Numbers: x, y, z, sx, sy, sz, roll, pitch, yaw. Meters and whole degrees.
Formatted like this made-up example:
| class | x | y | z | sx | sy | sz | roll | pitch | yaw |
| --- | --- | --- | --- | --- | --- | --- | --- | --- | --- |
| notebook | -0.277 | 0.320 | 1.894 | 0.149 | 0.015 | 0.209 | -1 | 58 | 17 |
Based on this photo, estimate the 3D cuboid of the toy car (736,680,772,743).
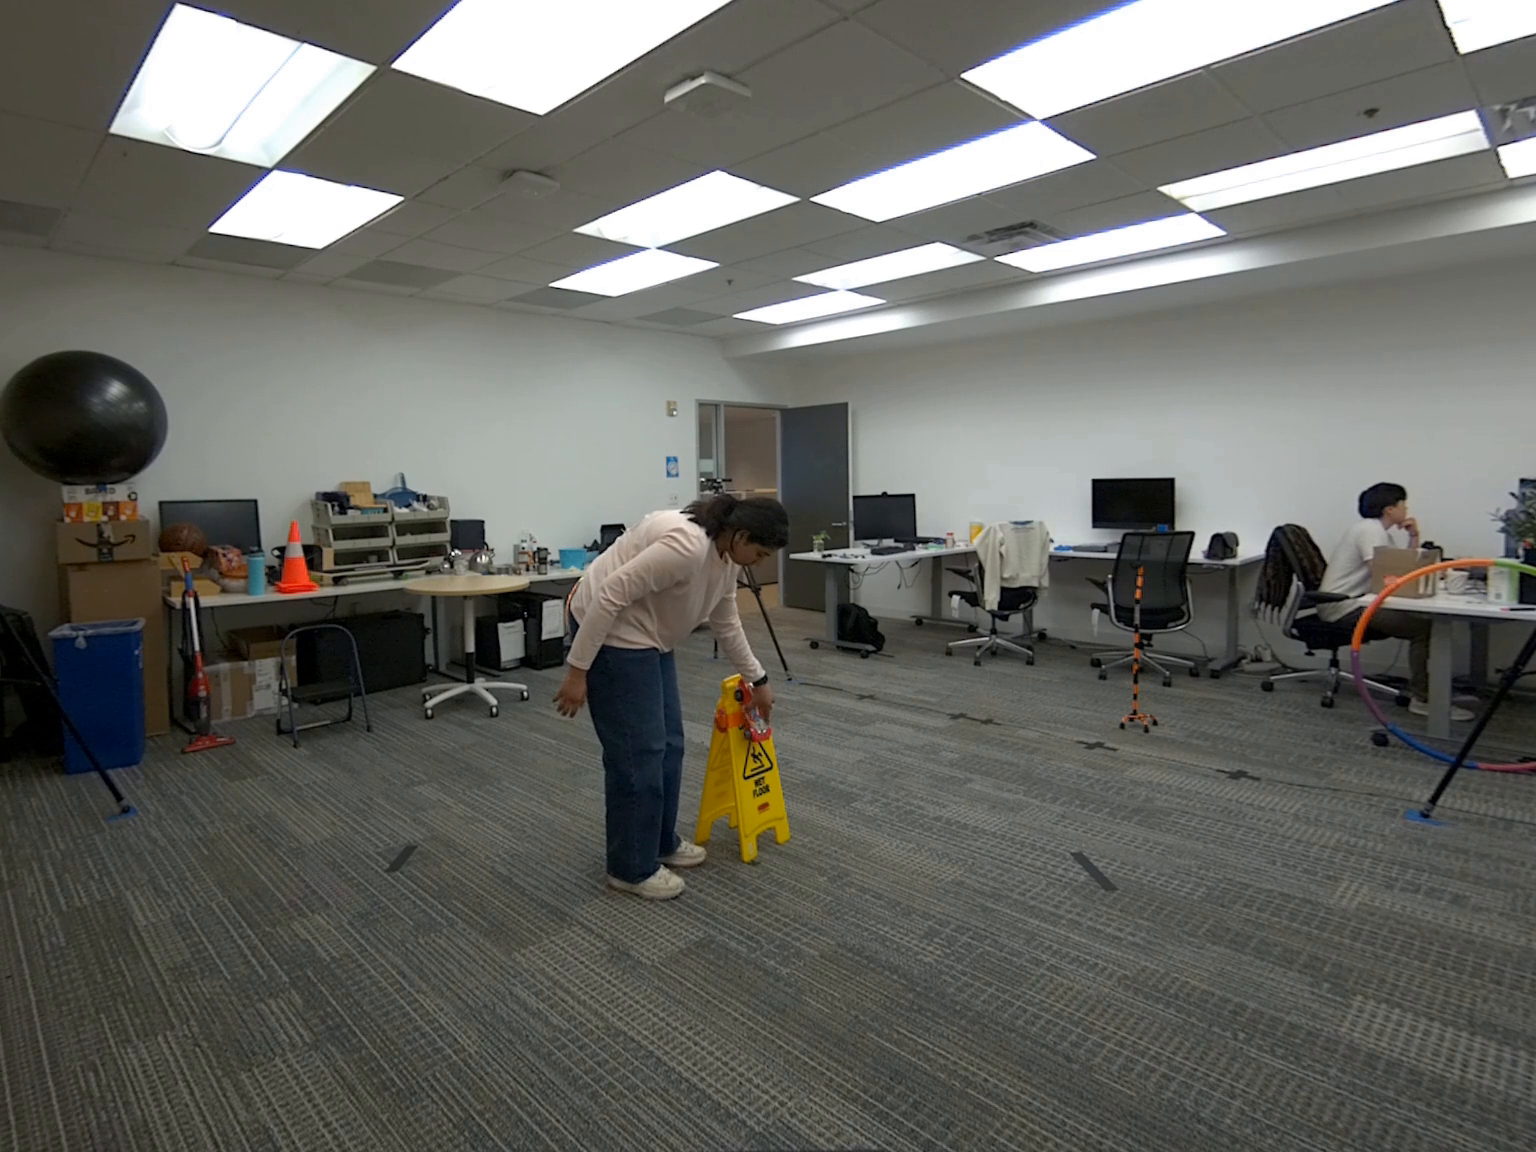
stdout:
| class | x | y | z | sx | sy | sz | roll | pitch | yaw |
| --- | --- | --- | --- | --- | --- | --- | --- | --- | --- |
| toy car | -0.067 | 0.496 | 3.211 | 0.085 | 0.257 | 0.126 | -13 | -12 | 41 |
